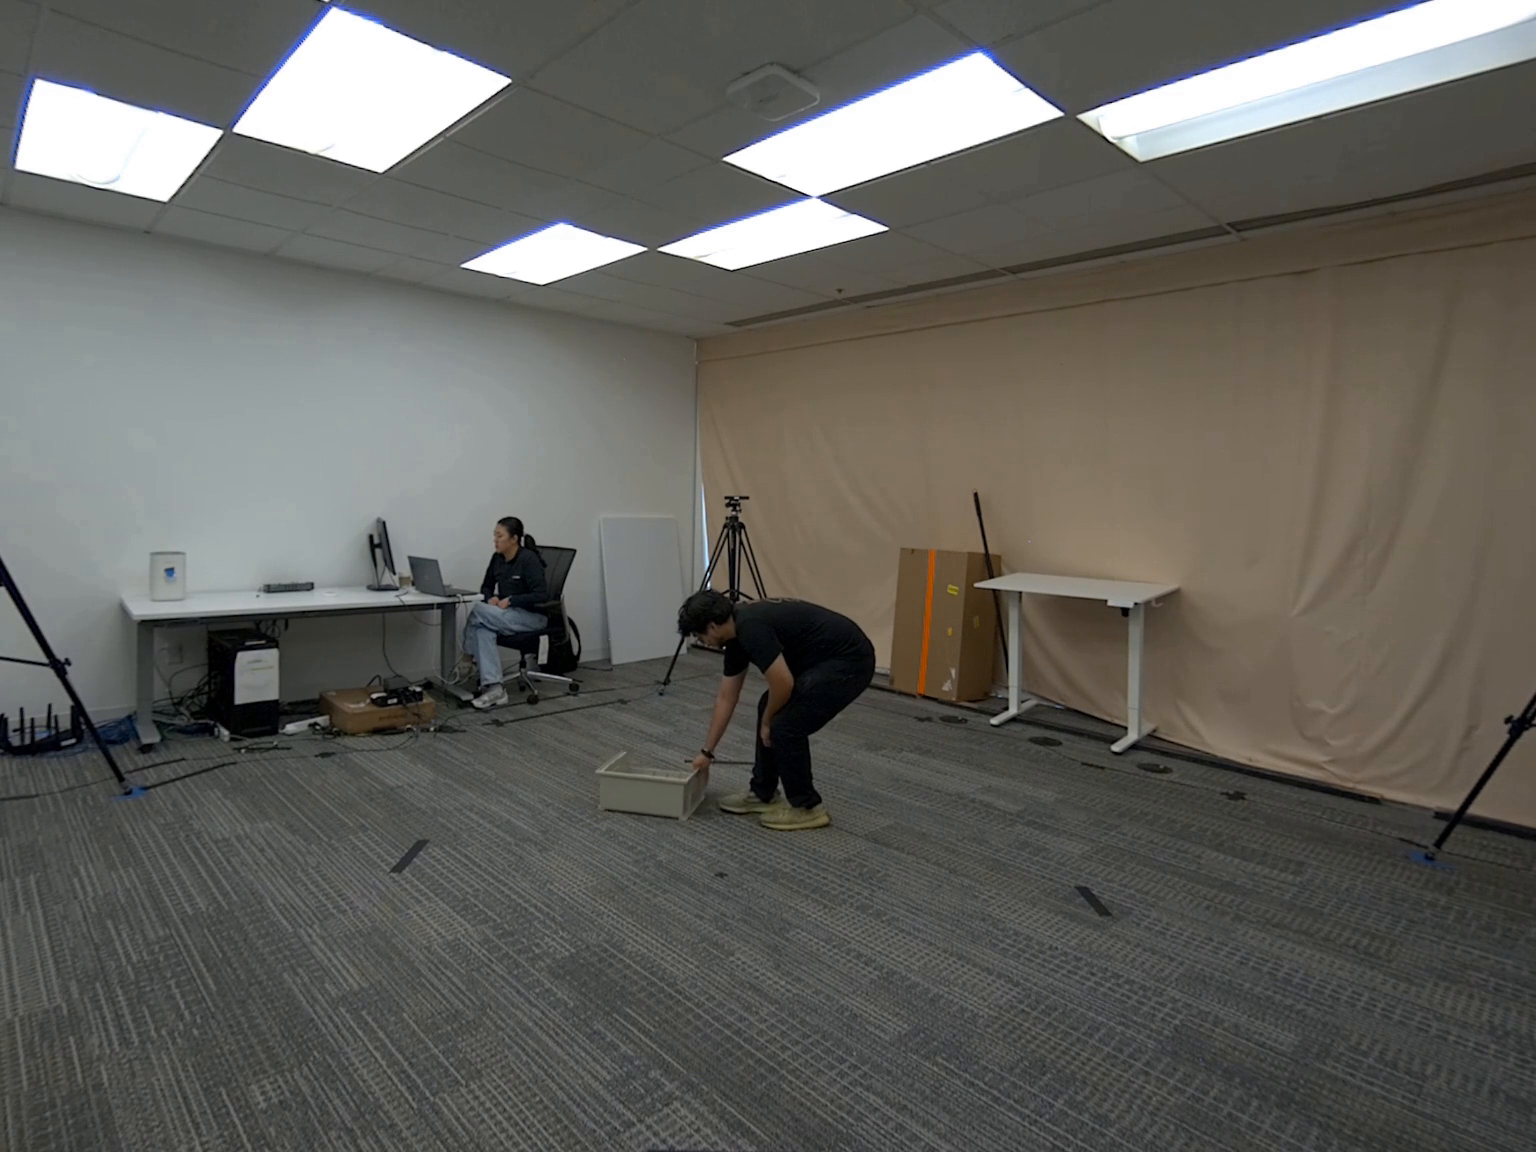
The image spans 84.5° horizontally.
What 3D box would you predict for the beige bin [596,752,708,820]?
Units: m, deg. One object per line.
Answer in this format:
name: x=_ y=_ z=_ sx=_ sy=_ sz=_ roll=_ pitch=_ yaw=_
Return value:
beige bin: x=-0.520 y=0.935 z=3.833 sx=0.427 sy=0.188 sz=0.374 roll=3 pitch=7 yaw=13
